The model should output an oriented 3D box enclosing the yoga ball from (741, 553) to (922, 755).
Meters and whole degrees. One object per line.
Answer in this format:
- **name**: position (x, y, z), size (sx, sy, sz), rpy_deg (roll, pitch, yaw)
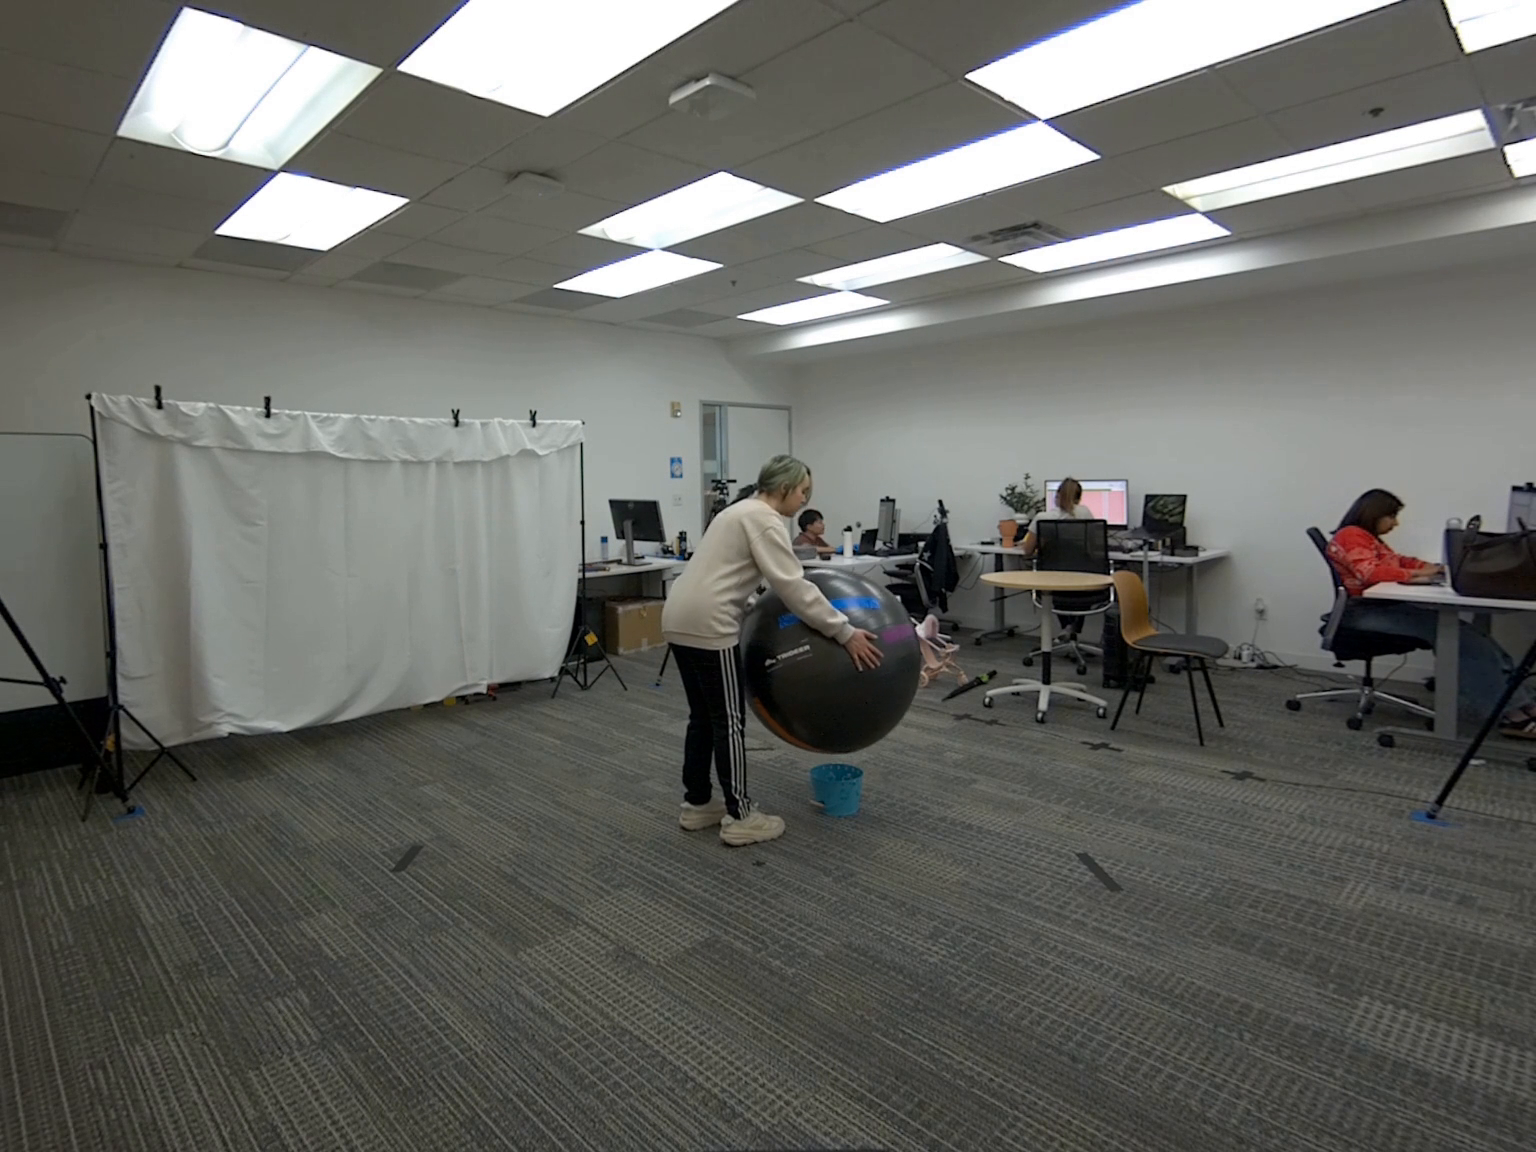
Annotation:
- **yoga ball**: position (0.250, 0.349, 3.540), size (0.757, 0.755, 0.762), rpy_deg (-1, 5, -2)
